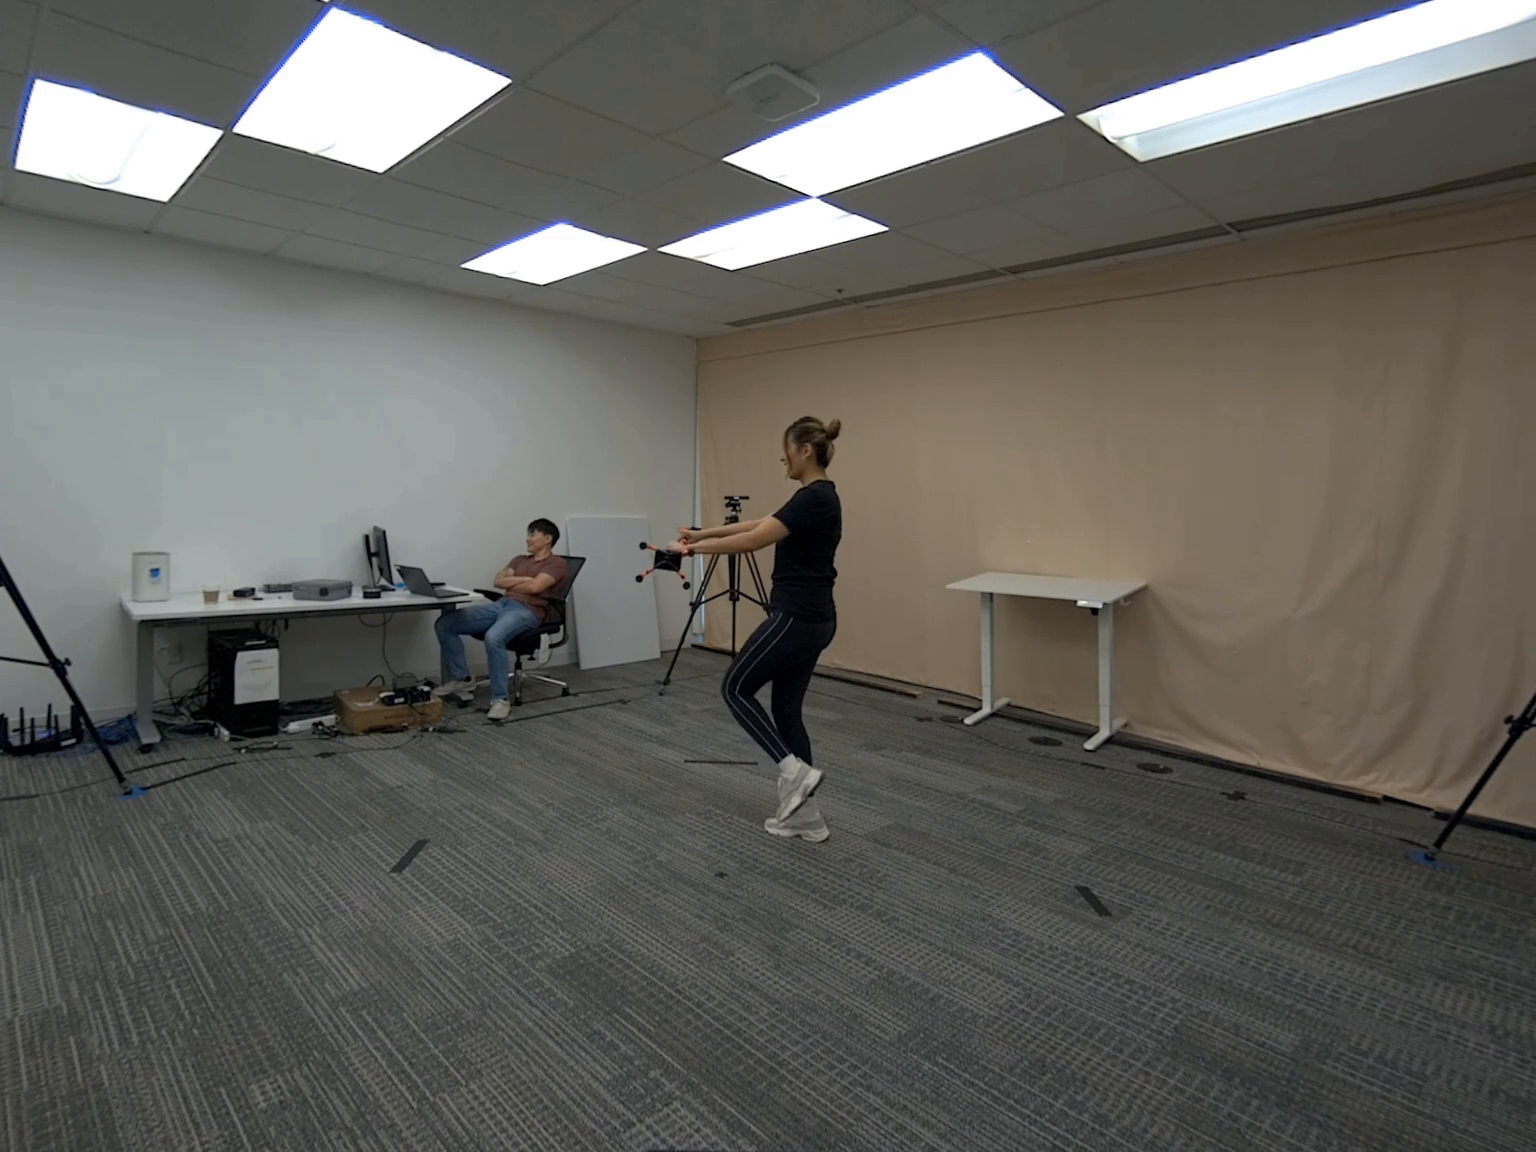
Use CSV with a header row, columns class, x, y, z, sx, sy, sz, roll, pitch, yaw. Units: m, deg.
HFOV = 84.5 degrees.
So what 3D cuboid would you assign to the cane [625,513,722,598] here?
class,x,y,z,sx,sy,sz,roll,pitch,yaw
cane,-0.372,-0.111,3.516,0.207,0.151,0.910,14,12,2
